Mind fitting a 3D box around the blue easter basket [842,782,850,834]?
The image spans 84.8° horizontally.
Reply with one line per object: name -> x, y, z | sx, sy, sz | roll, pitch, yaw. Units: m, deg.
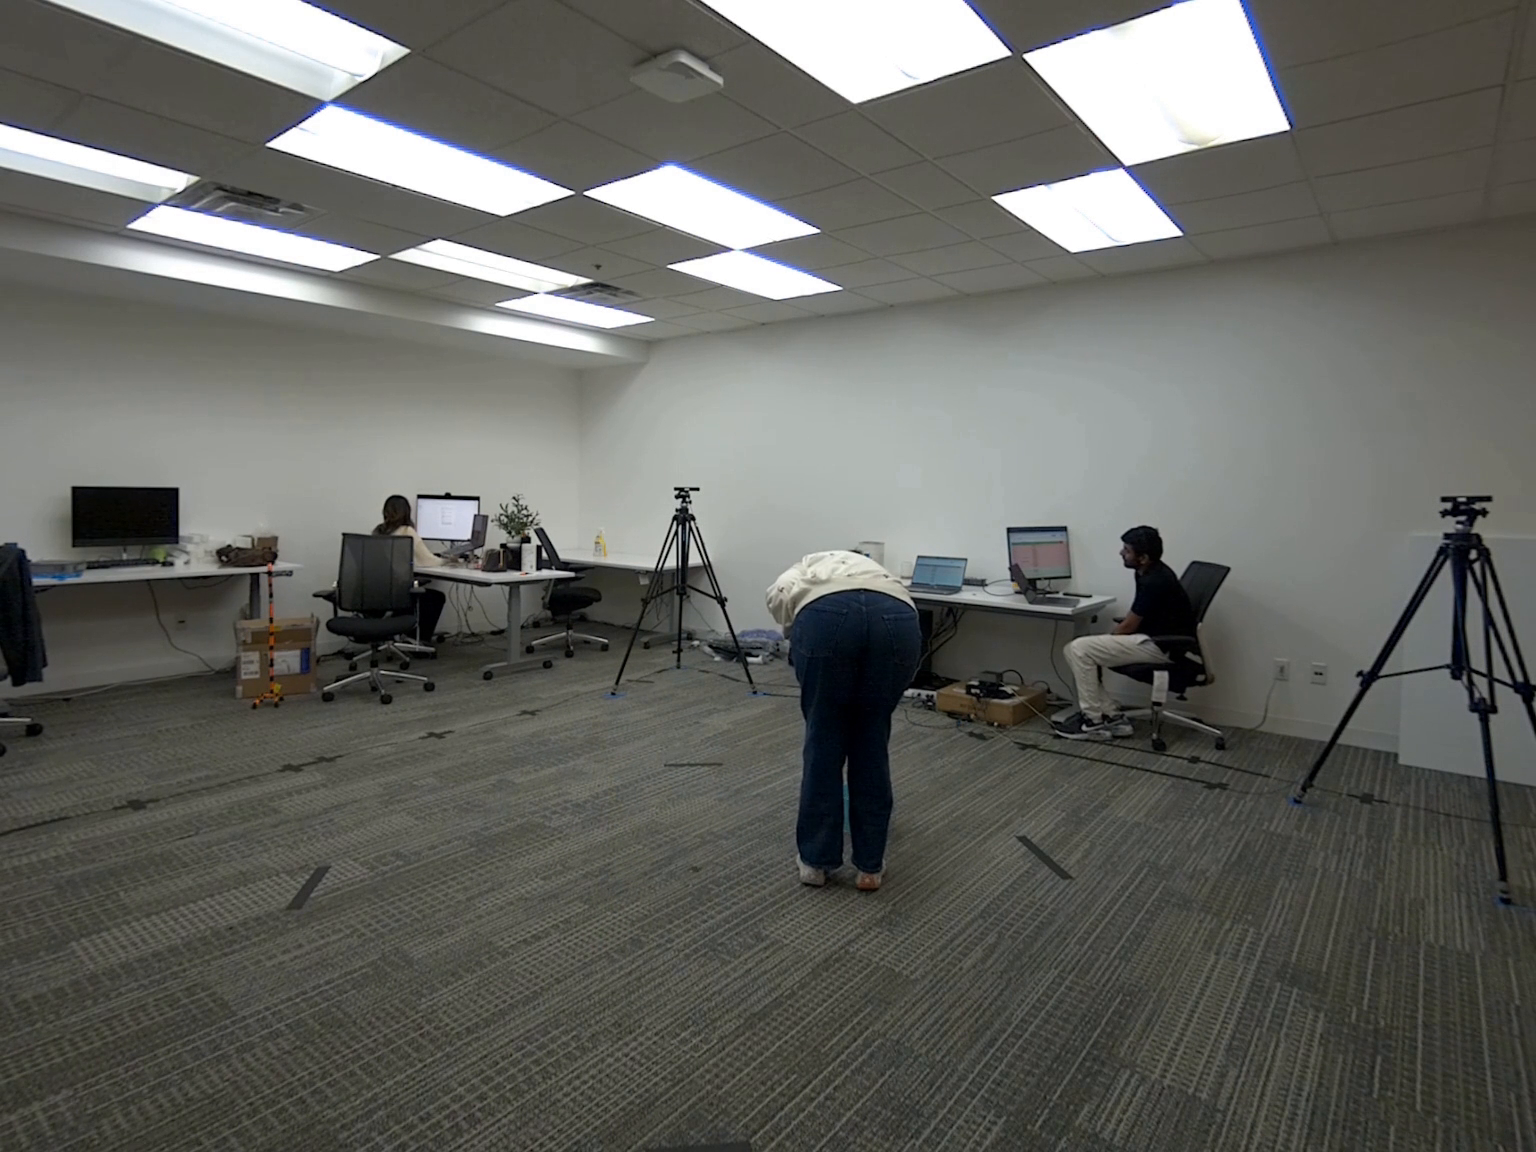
blue easter basket -> 0.388, 0.950, 3.513 | 0.243, 0.155, 0.245 | 1, 5, -2
